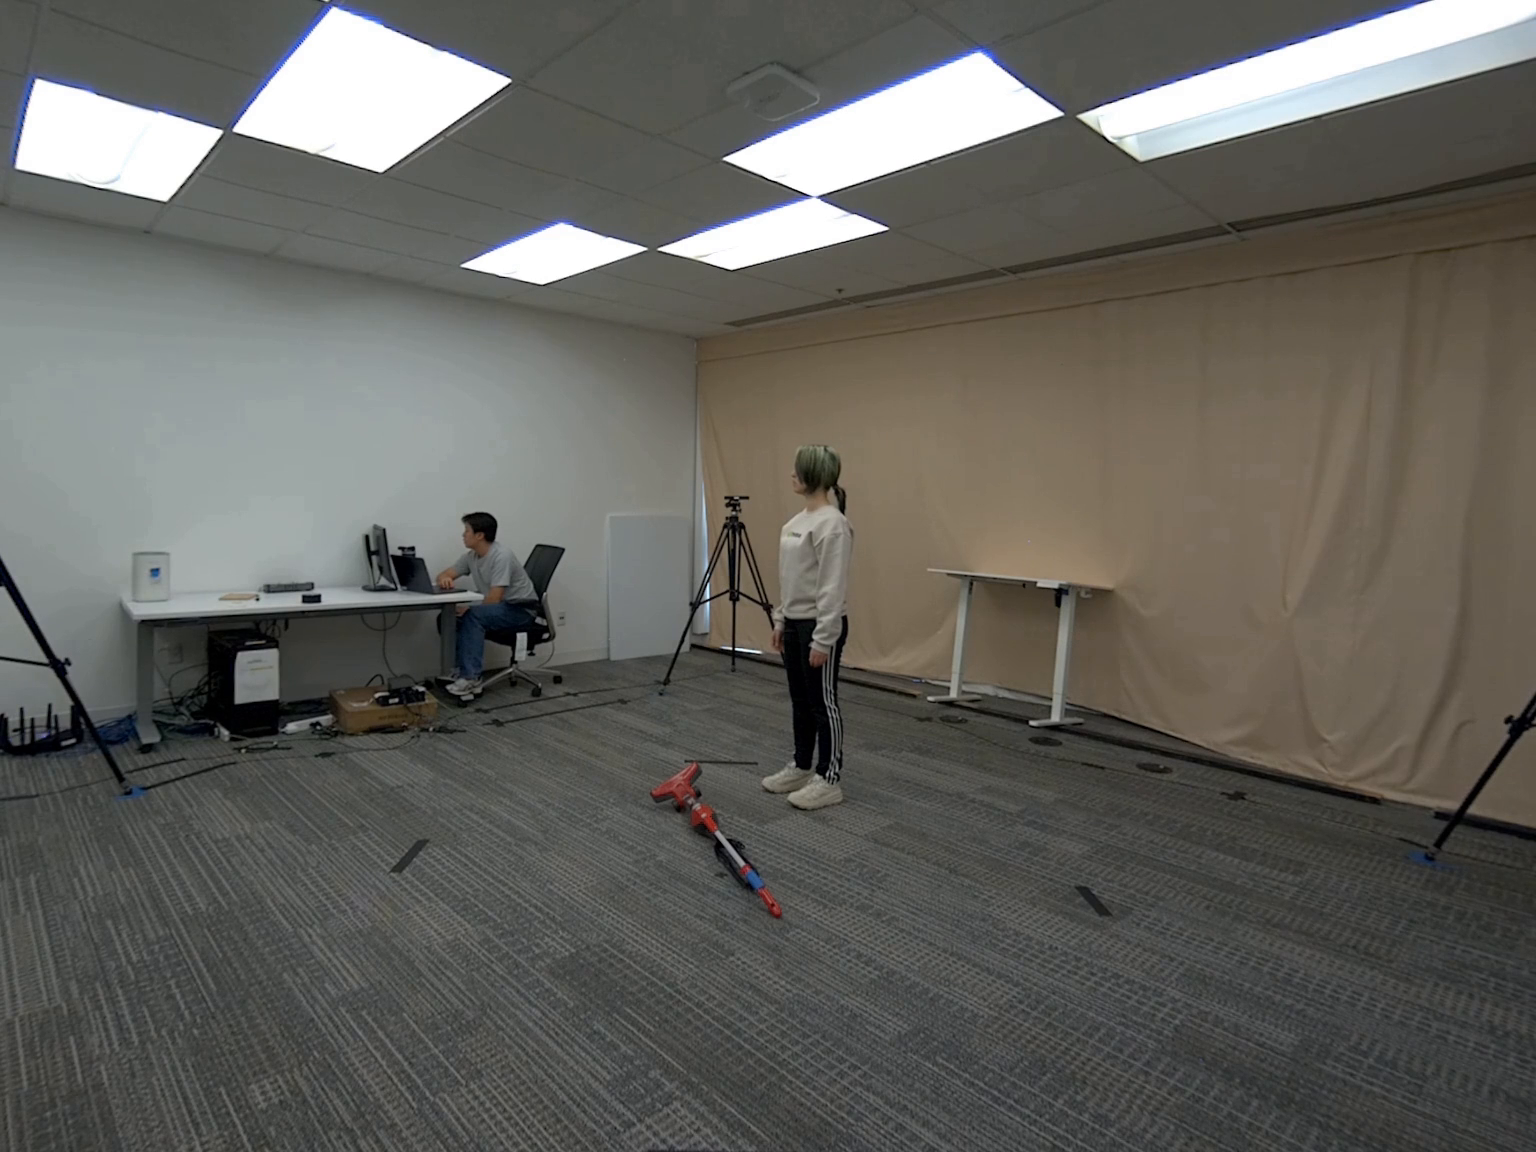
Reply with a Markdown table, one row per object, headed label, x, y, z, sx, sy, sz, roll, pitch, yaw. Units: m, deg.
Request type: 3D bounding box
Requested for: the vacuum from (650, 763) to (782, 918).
| label | x | y | z | sx | sy | sz | roll | pitch | yaw |
| --- | --- | --- | --- | --- | --- | --- | --- | --- | --- |
| vacuum | -0.186 | 1.039 | 3.284 | 0.251 | 0.141 | 1.072 | -34 | 20 | -14 |
